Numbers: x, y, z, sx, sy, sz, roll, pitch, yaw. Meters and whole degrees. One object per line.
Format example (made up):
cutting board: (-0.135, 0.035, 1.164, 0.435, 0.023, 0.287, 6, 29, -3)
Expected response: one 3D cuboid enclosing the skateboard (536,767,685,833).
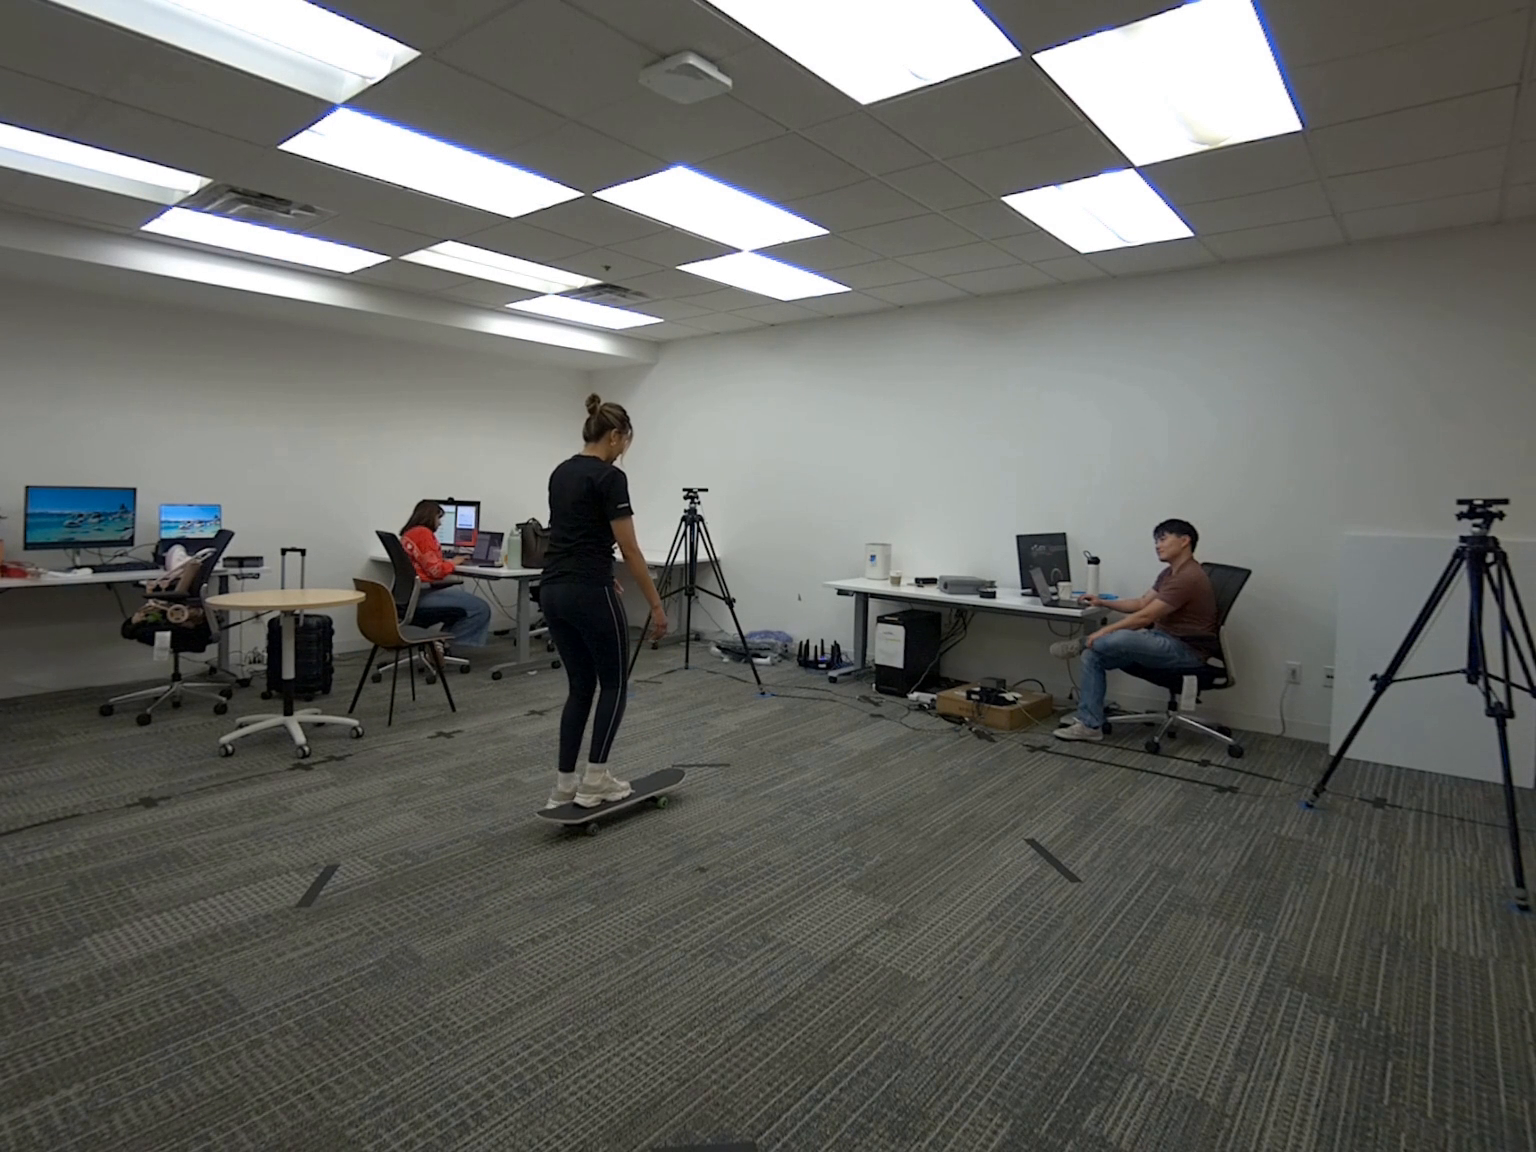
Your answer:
skateboard: (-0.660, 0.966, 3.603, 0.200, 0.110, 0.763, 3, 6, 38)
